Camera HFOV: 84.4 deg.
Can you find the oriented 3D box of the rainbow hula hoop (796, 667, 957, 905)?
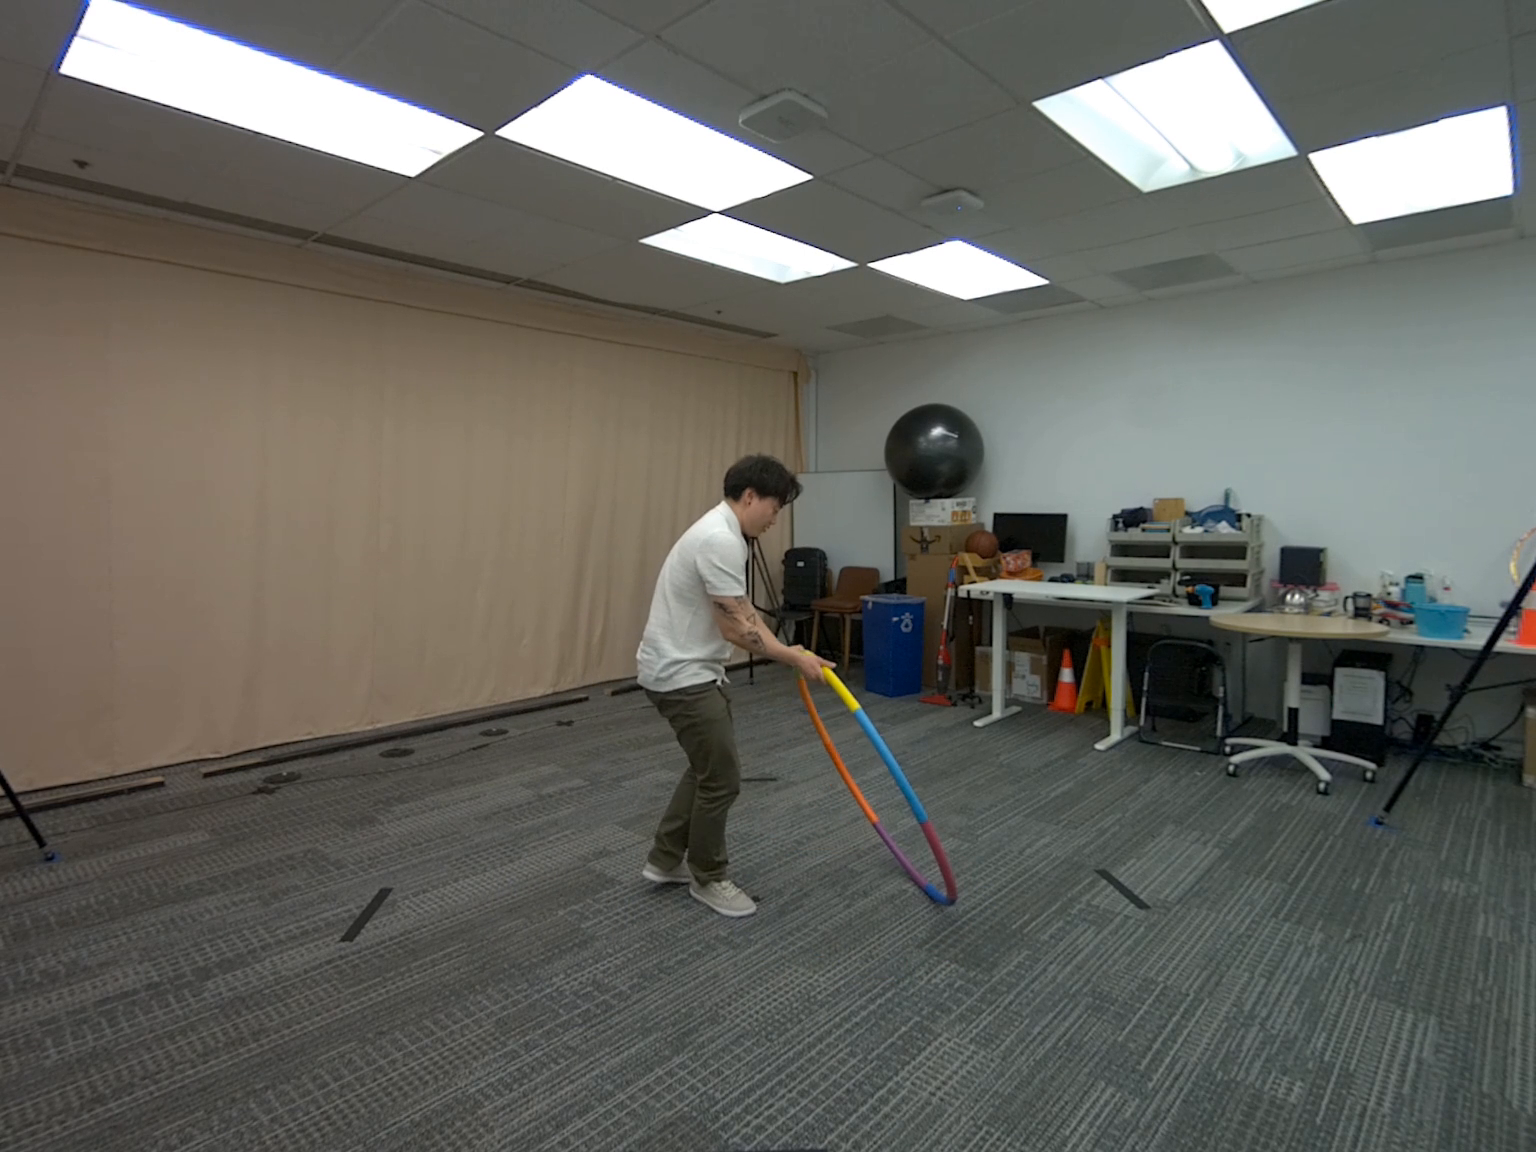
[{"bbox_3d":[0.345,0.696,2.983,0.035,0.970,0.994,-29,10,-11],"label":"rainbow hula hoop"}]
